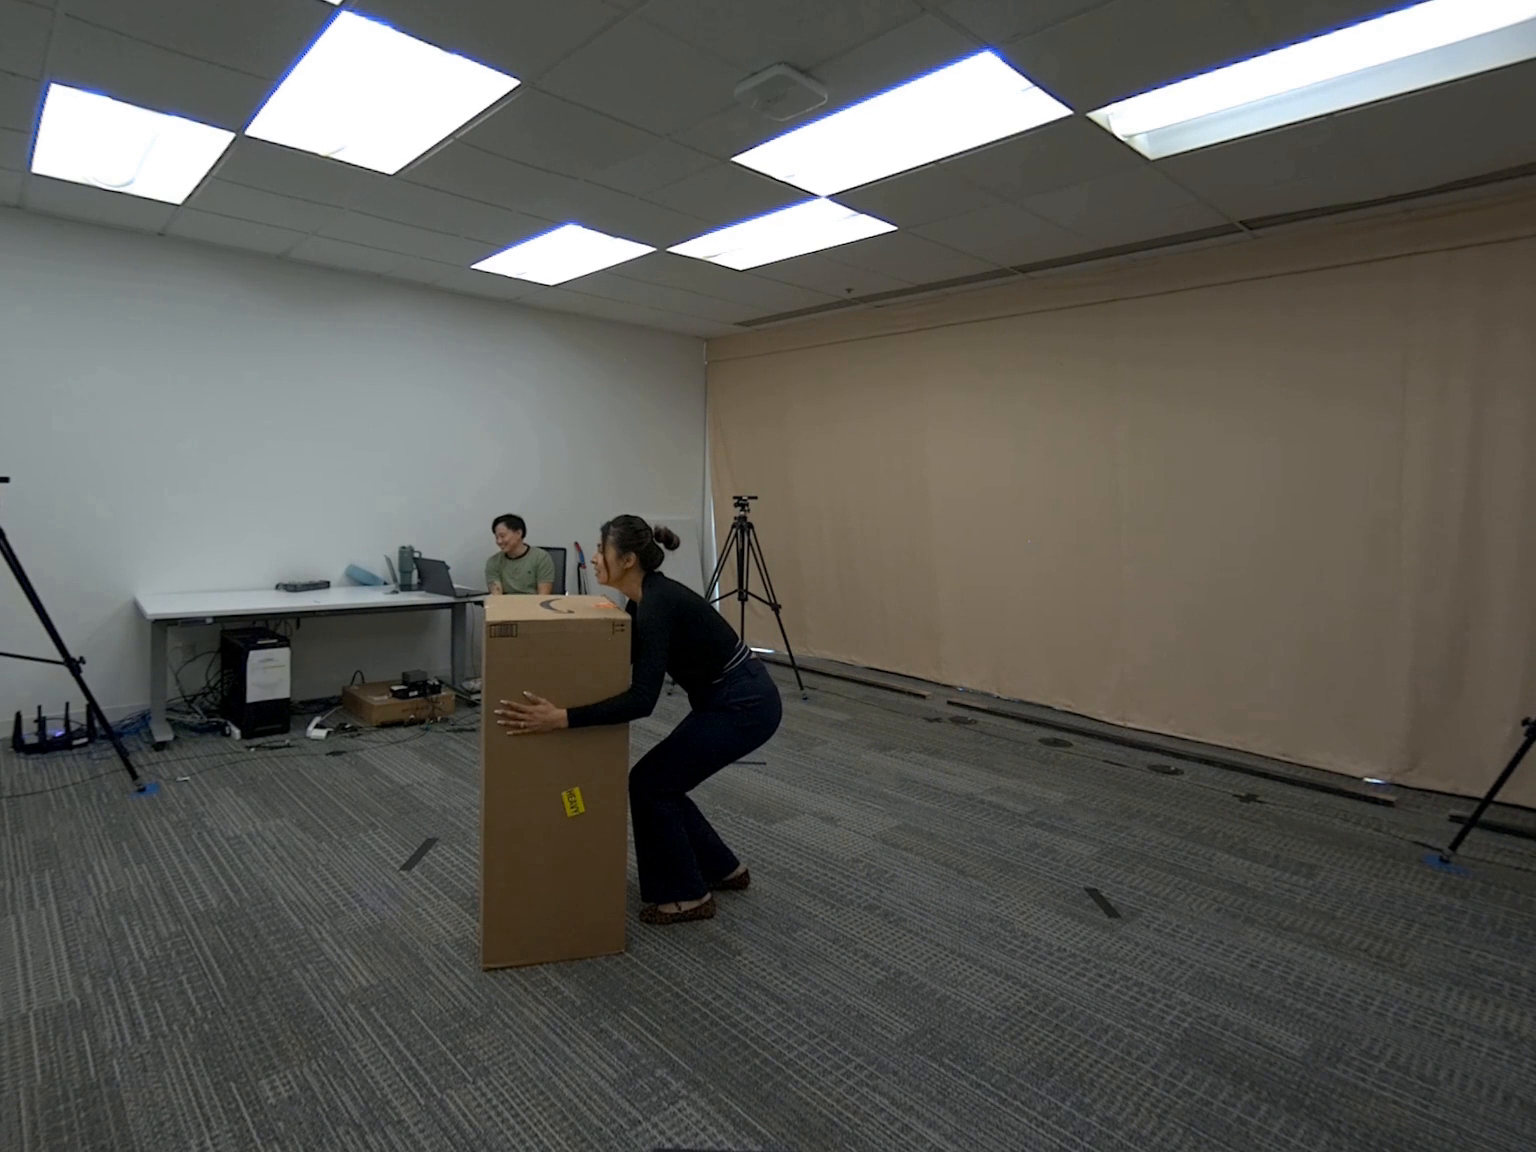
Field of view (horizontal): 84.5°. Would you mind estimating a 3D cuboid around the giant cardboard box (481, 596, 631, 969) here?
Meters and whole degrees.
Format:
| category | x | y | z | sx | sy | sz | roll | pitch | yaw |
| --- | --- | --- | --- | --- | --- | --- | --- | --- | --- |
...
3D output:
| category | x | y | z | sx | sy | sz | roll | pitch | yaw |
| --- | --- | --- | --- | --- | --- | --- | --- | --- | --- |
| giant cardboard box | -0.712 | 0.611 | 2.740 | 0.421 | 1.023 | 0.587 | 0 | 4 | -18 |
